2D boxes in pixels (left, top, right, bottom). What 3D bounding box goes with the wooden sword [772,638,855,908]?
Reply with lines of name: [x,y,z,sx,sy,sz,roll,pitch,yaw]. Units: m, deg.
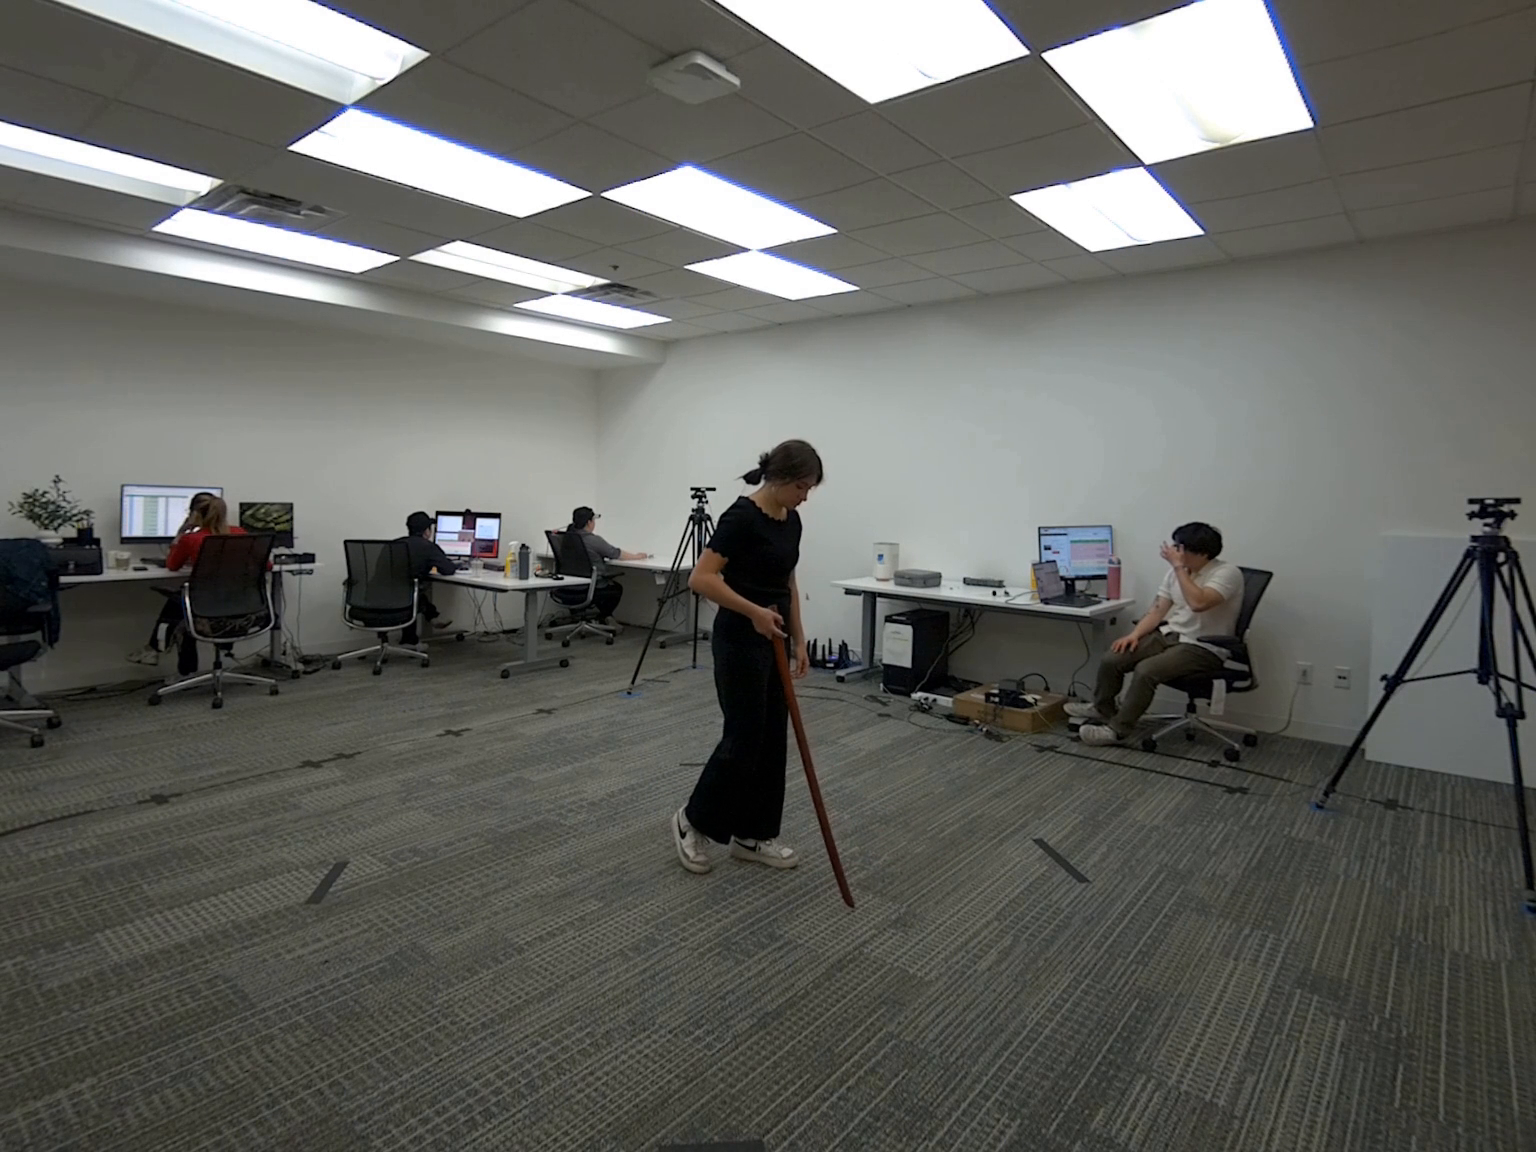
wooden sword: [0.134,0.617,2.889,0.024,1.037,0.050,-17,-9,4]
